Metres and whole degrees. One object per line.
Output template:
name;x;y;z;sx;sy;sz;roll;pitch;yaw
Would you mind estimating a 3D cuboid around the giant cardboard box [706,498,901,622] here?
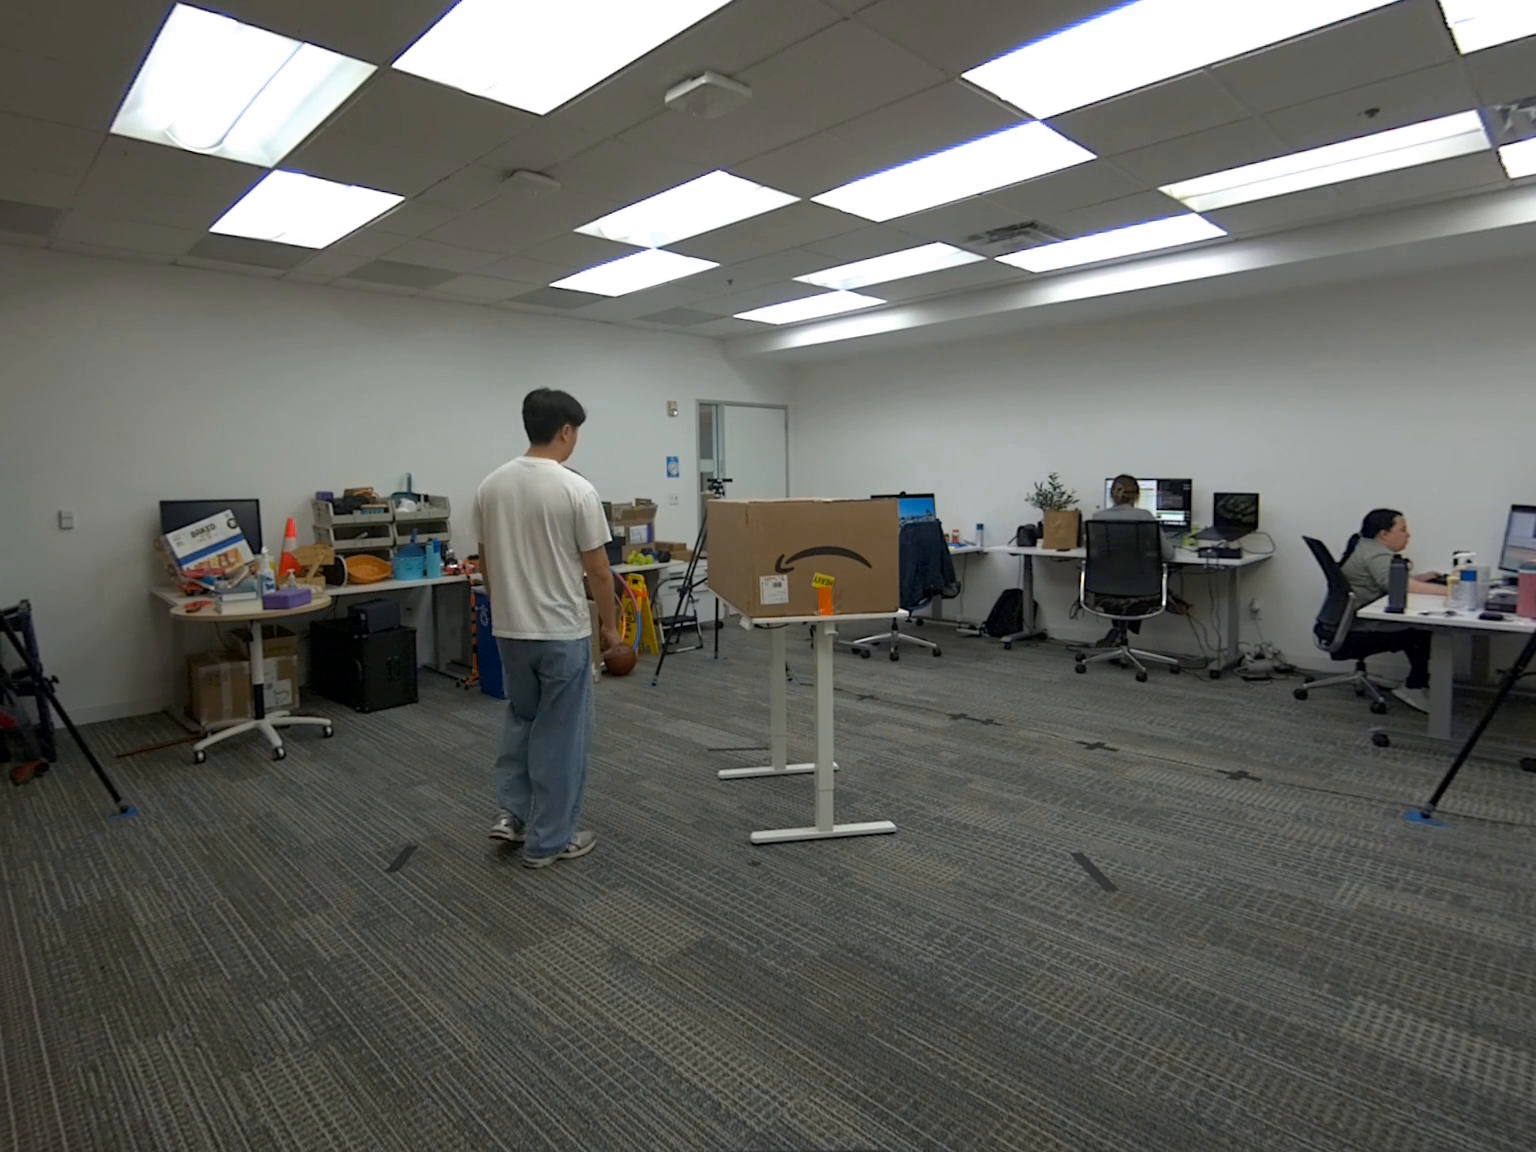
giant cardboard box;0.094;-0.113;3.645;0.572;0.424;1.040;-3;6;-11
